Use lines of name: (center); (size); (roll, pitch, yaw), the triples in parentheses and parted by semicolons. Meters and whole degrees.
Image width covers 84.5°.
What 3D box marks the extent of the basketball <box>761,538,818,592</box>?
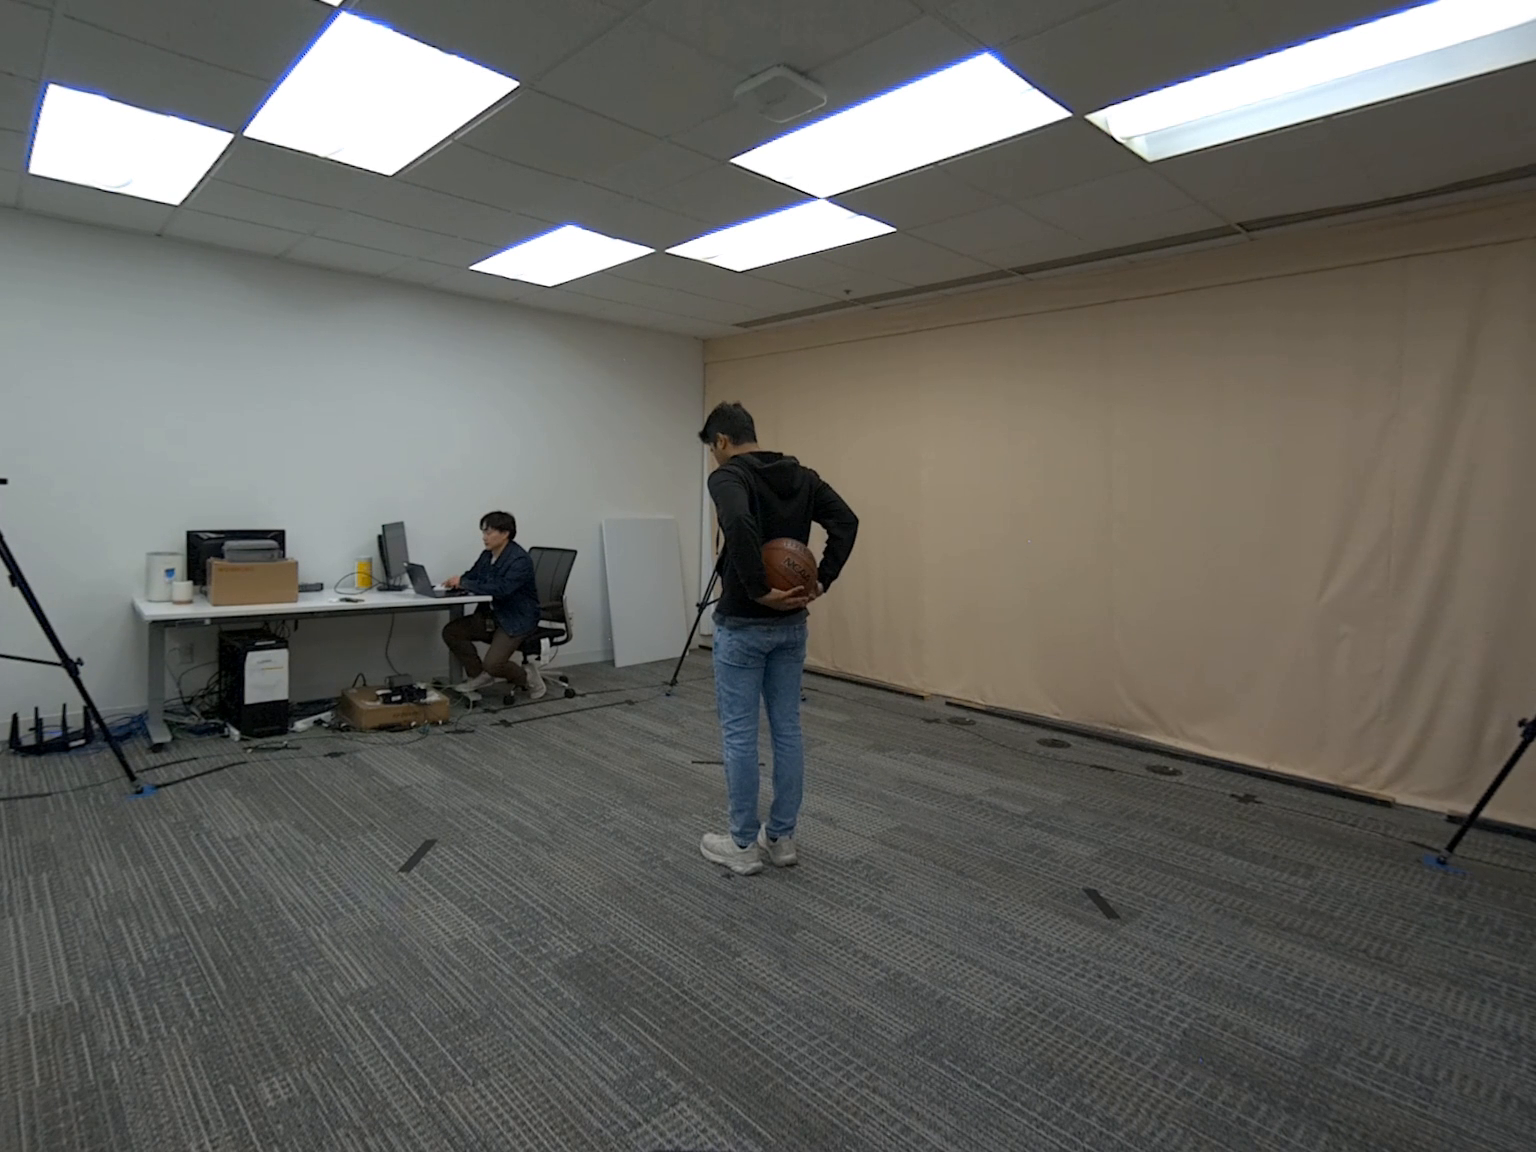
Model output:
basketball: (0.039, -0.018, 2.980); (0.236, 0.235, 0.237); (1, 4, -1)
